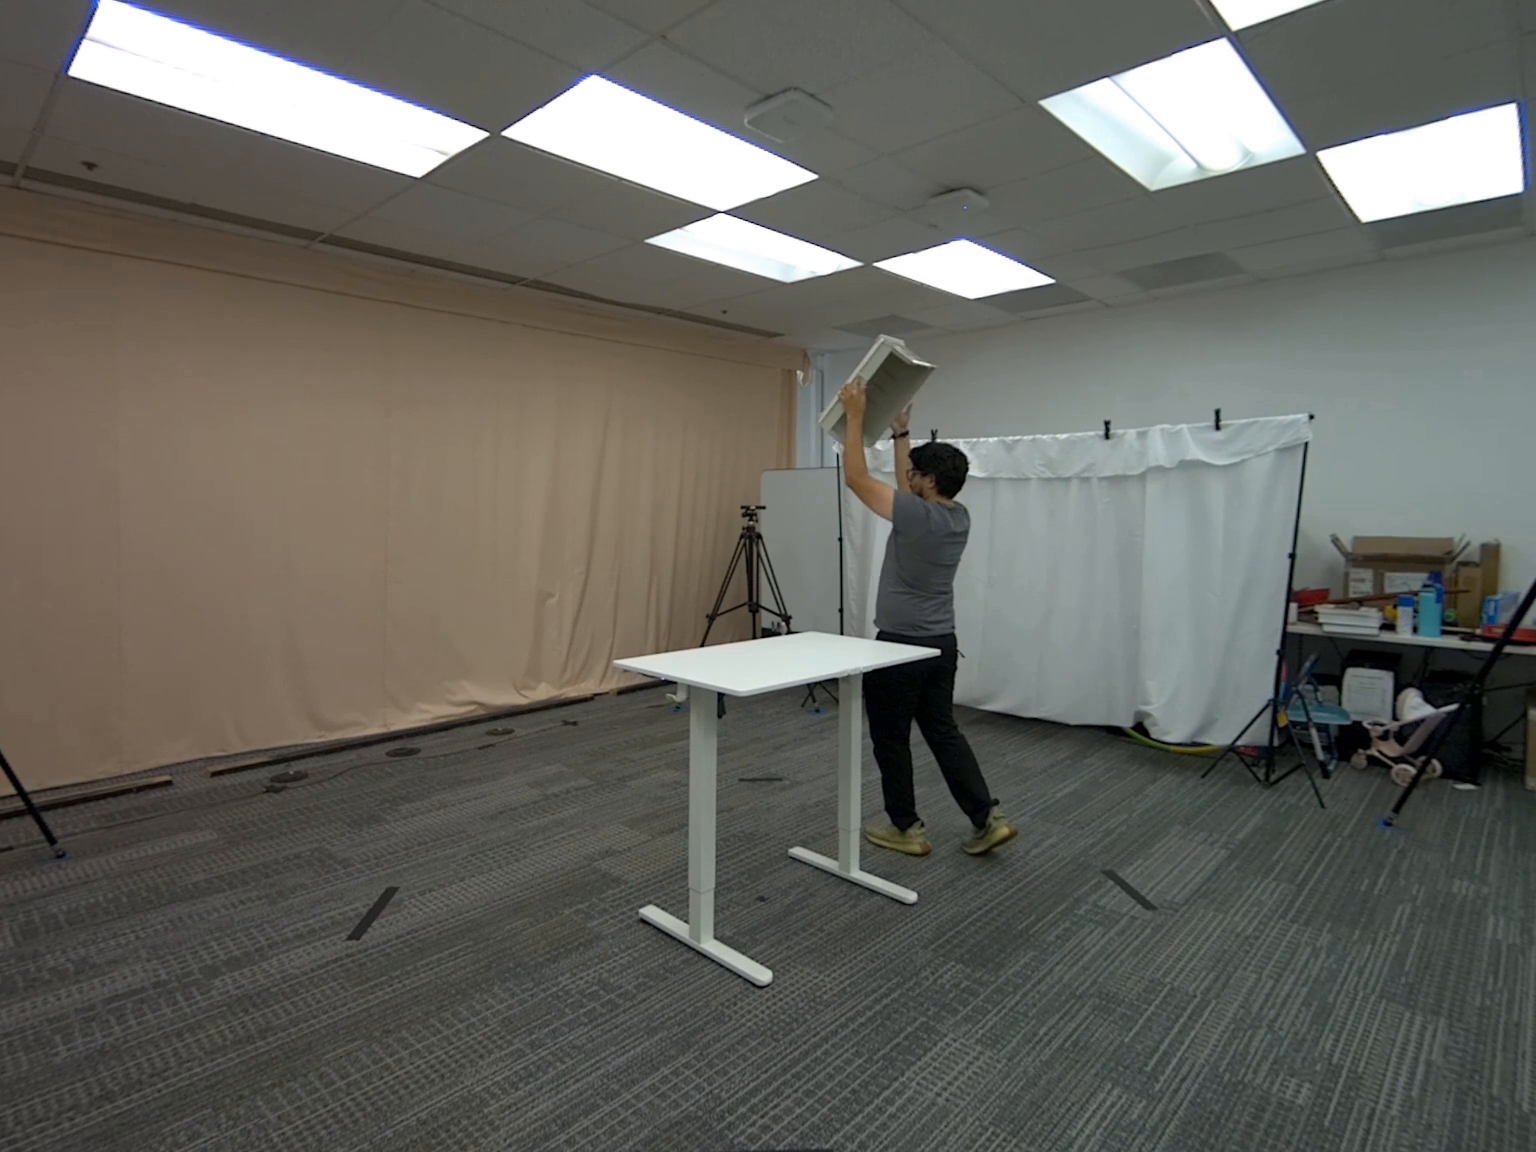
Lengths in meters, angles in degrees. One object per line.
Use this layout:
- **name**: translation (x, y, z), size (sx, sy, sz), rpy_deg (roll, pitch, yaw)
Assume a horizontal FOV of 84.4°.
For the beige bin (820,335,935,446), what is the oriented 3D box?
- **beige bin**: translation (0.439, -0.740, 3.423), size (0.192, 0.424, 0.369), rpy_deg (44, 25, 13)
